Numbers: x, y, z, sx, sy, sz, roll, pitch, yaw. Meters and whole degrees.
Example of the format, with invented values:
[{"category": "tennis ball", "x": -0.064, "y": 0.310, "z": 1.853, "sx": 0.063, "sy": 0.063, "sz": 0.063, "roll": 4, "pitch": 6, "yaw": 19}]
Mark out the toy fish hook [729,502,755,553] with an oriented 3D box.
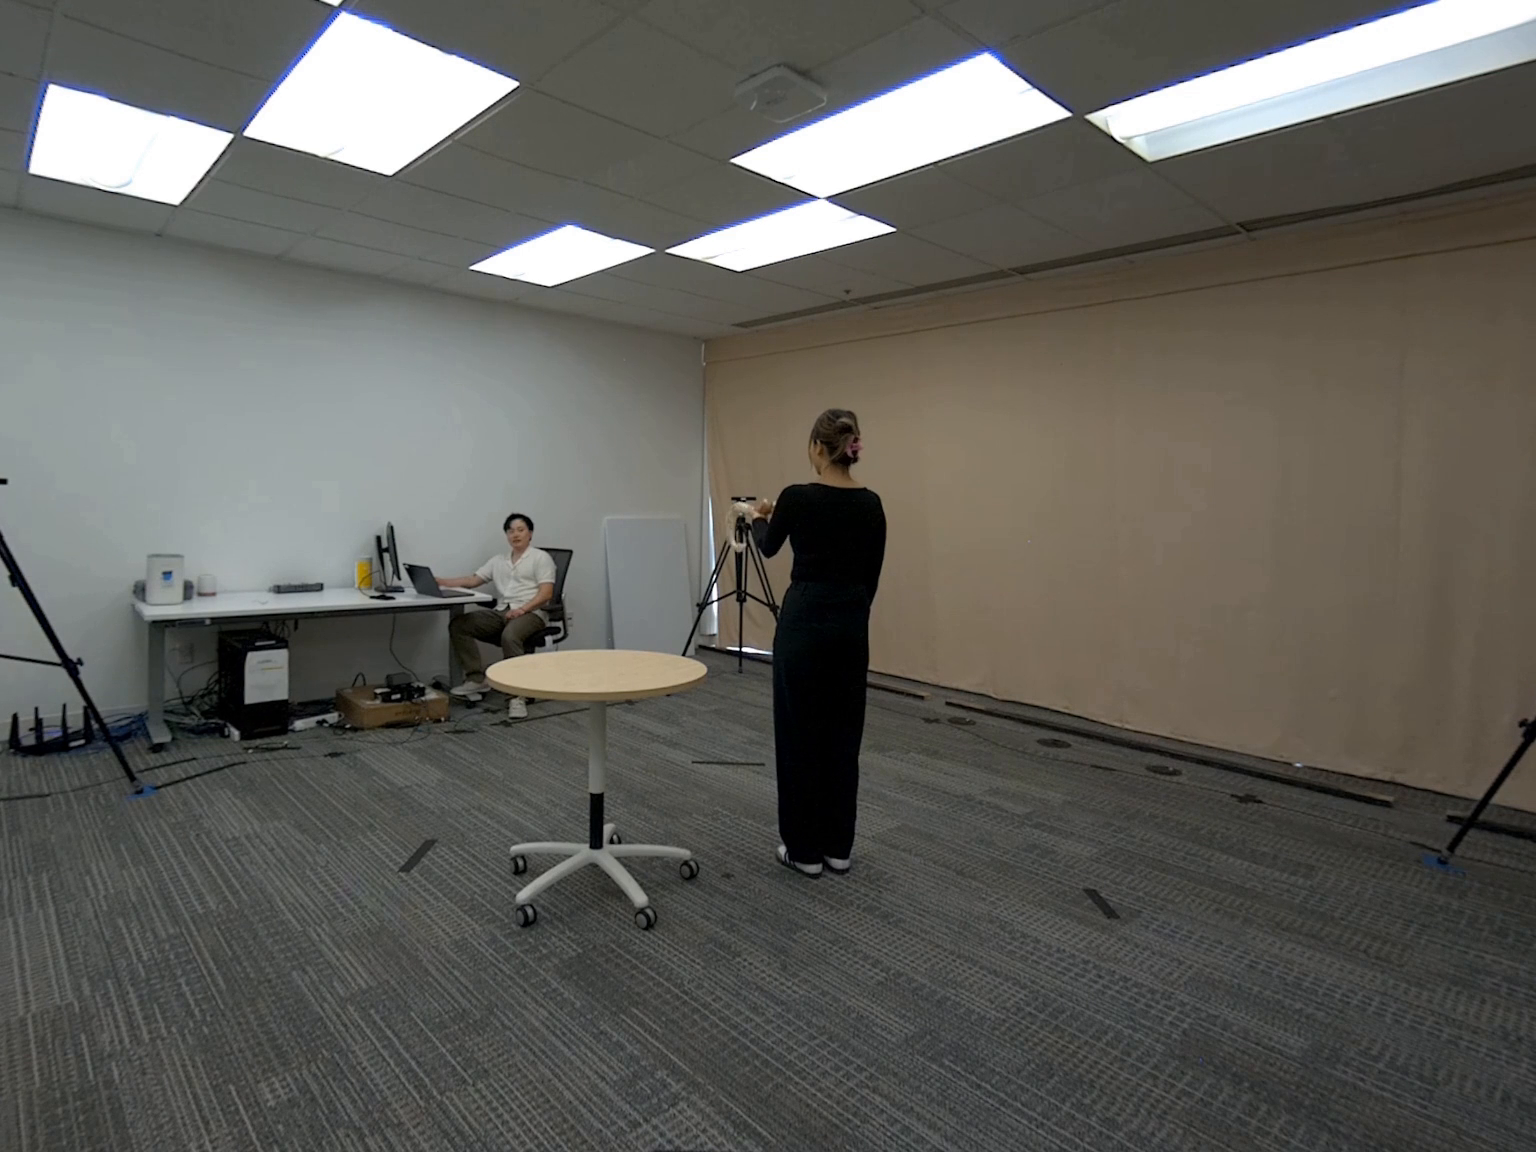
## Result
[{"category": "toy fish hook", "x": -0.080, "y": -0.226, "z": 3.652, "sx": 0.047, "sy": 0.225, "sz": 0.514, "roll": -4, "pitch": -1, "yaw": -24}]
